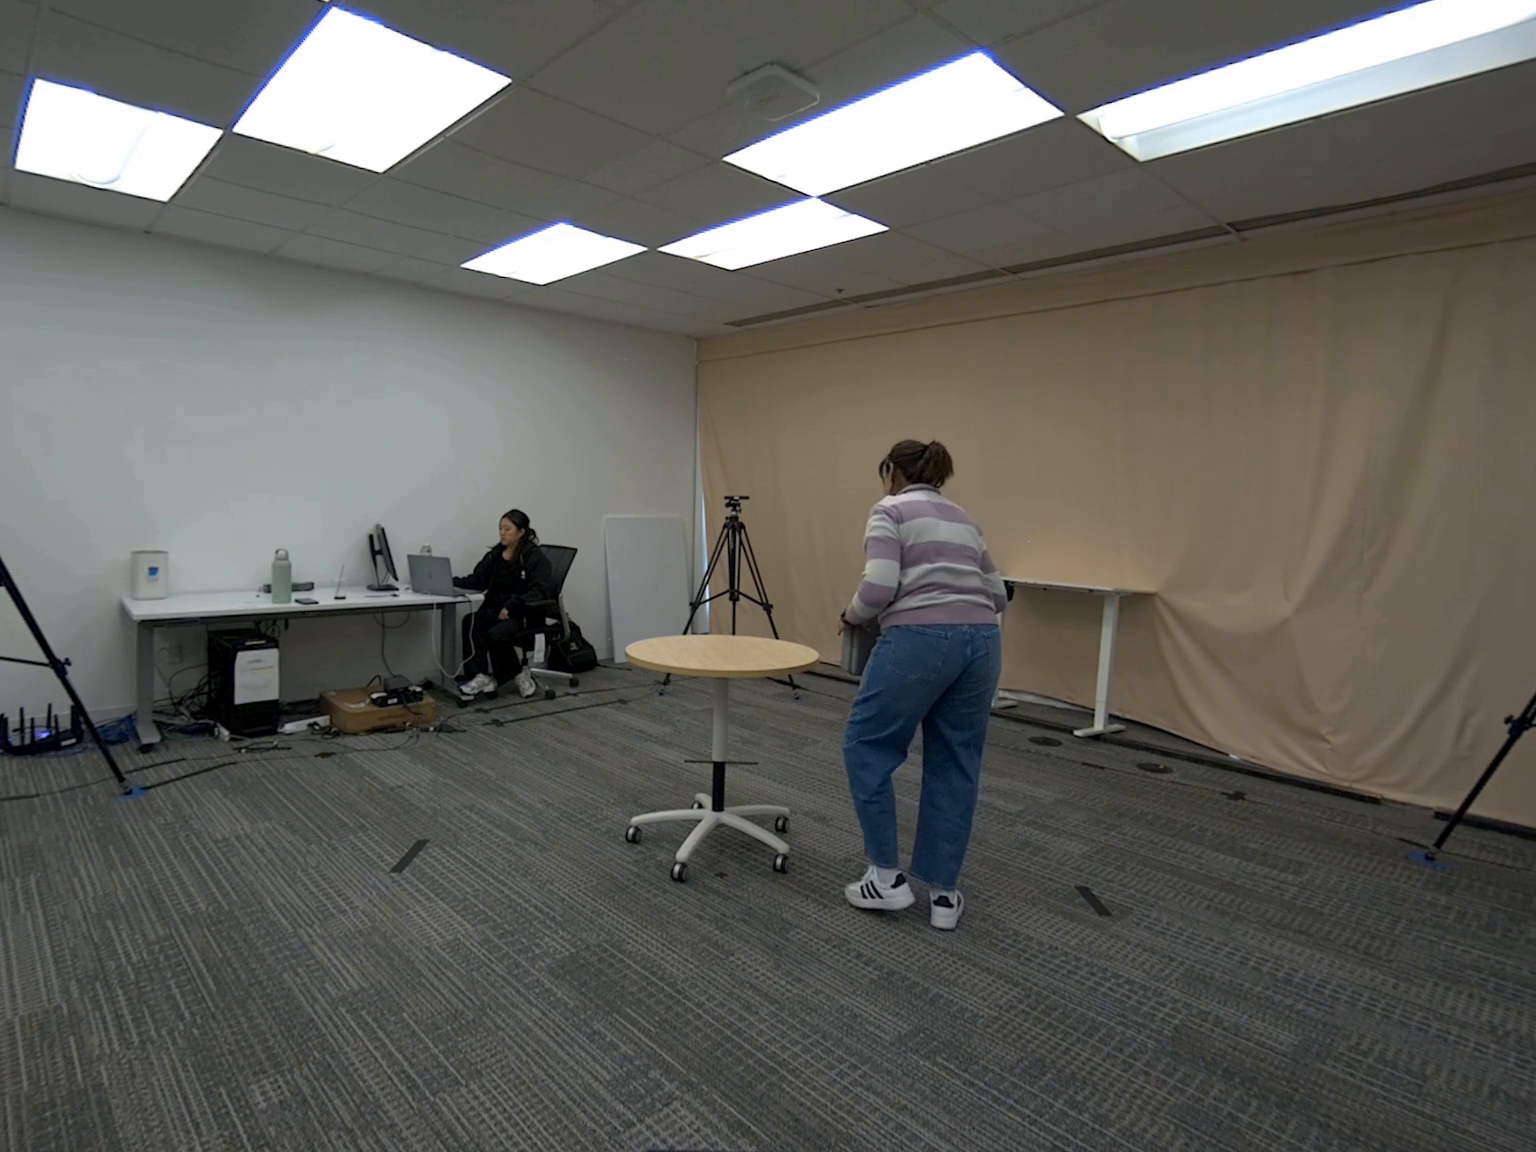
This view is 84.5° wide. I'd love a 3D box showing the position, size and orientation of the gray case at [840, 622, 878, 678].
[{"bbox_3d":[0.401,0.240,3.087,0.251,0.260,0.107,2,3,-32],"label":"gray case"}]
